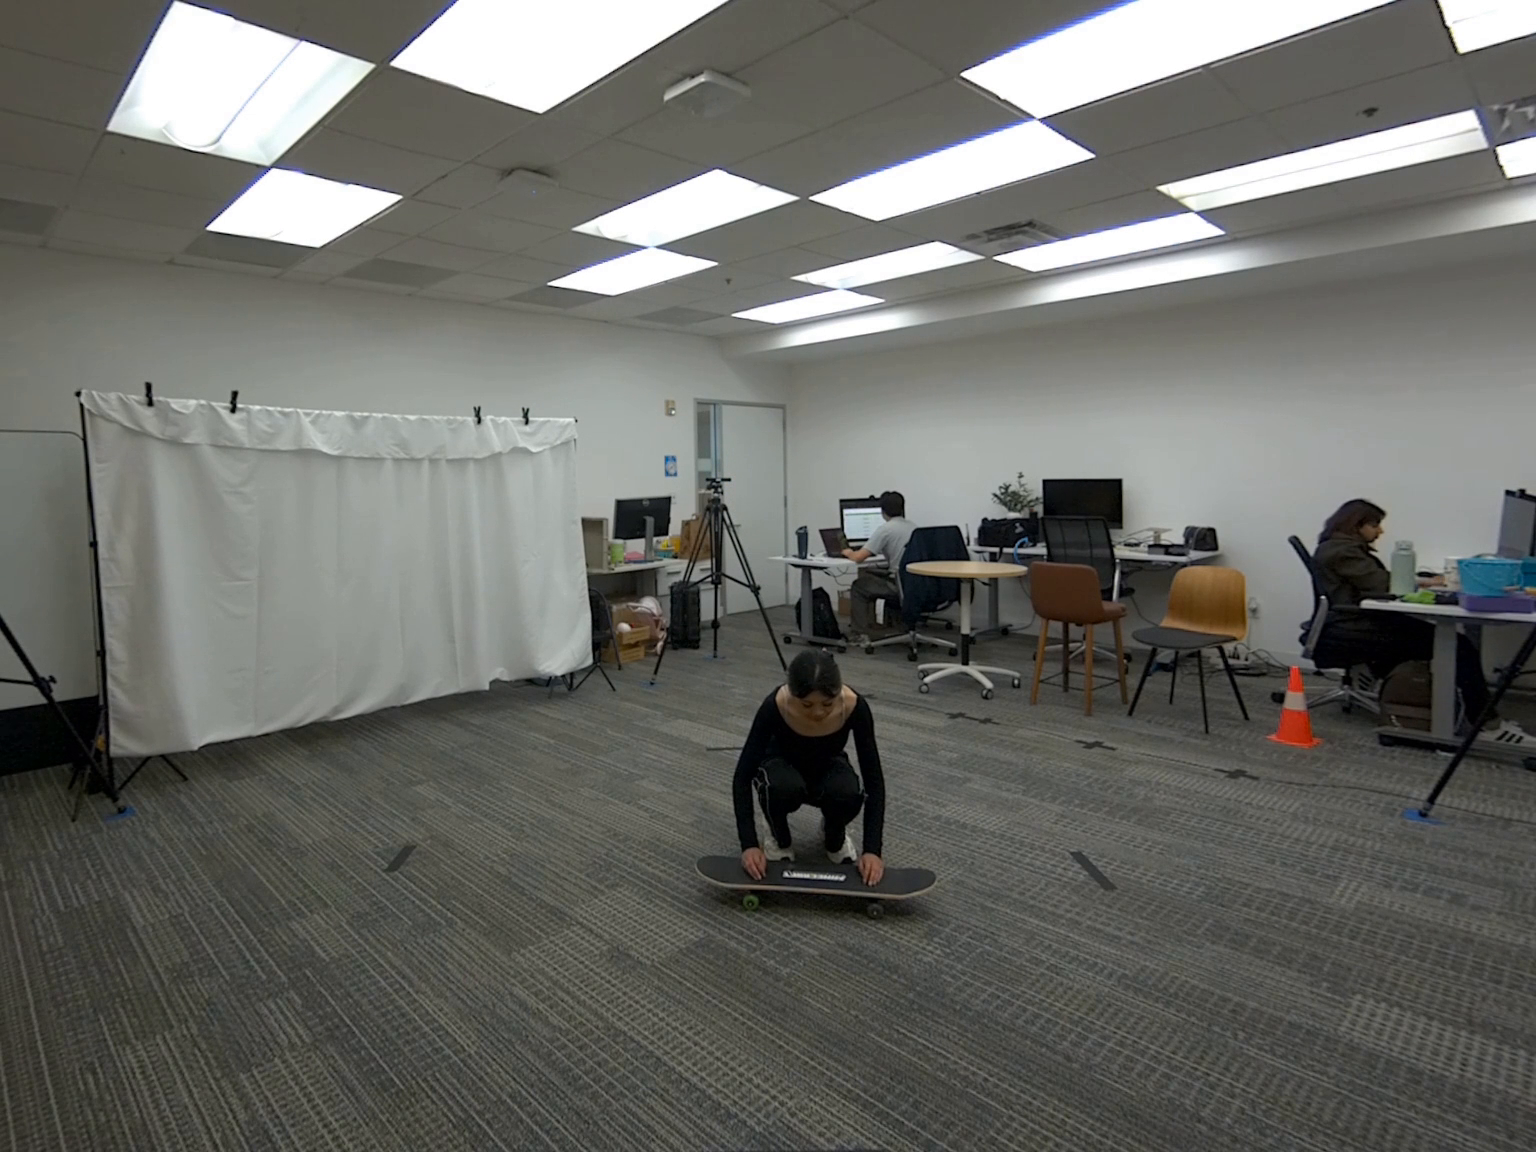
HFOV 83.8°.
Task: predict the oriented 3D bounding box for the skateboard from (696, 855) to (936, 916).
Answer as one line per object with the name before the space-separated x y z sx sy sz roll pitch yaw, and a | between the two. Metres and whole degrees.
skateboard | 0.145 1.010 2.813 0.793 0.110 0.192 0 6 10
